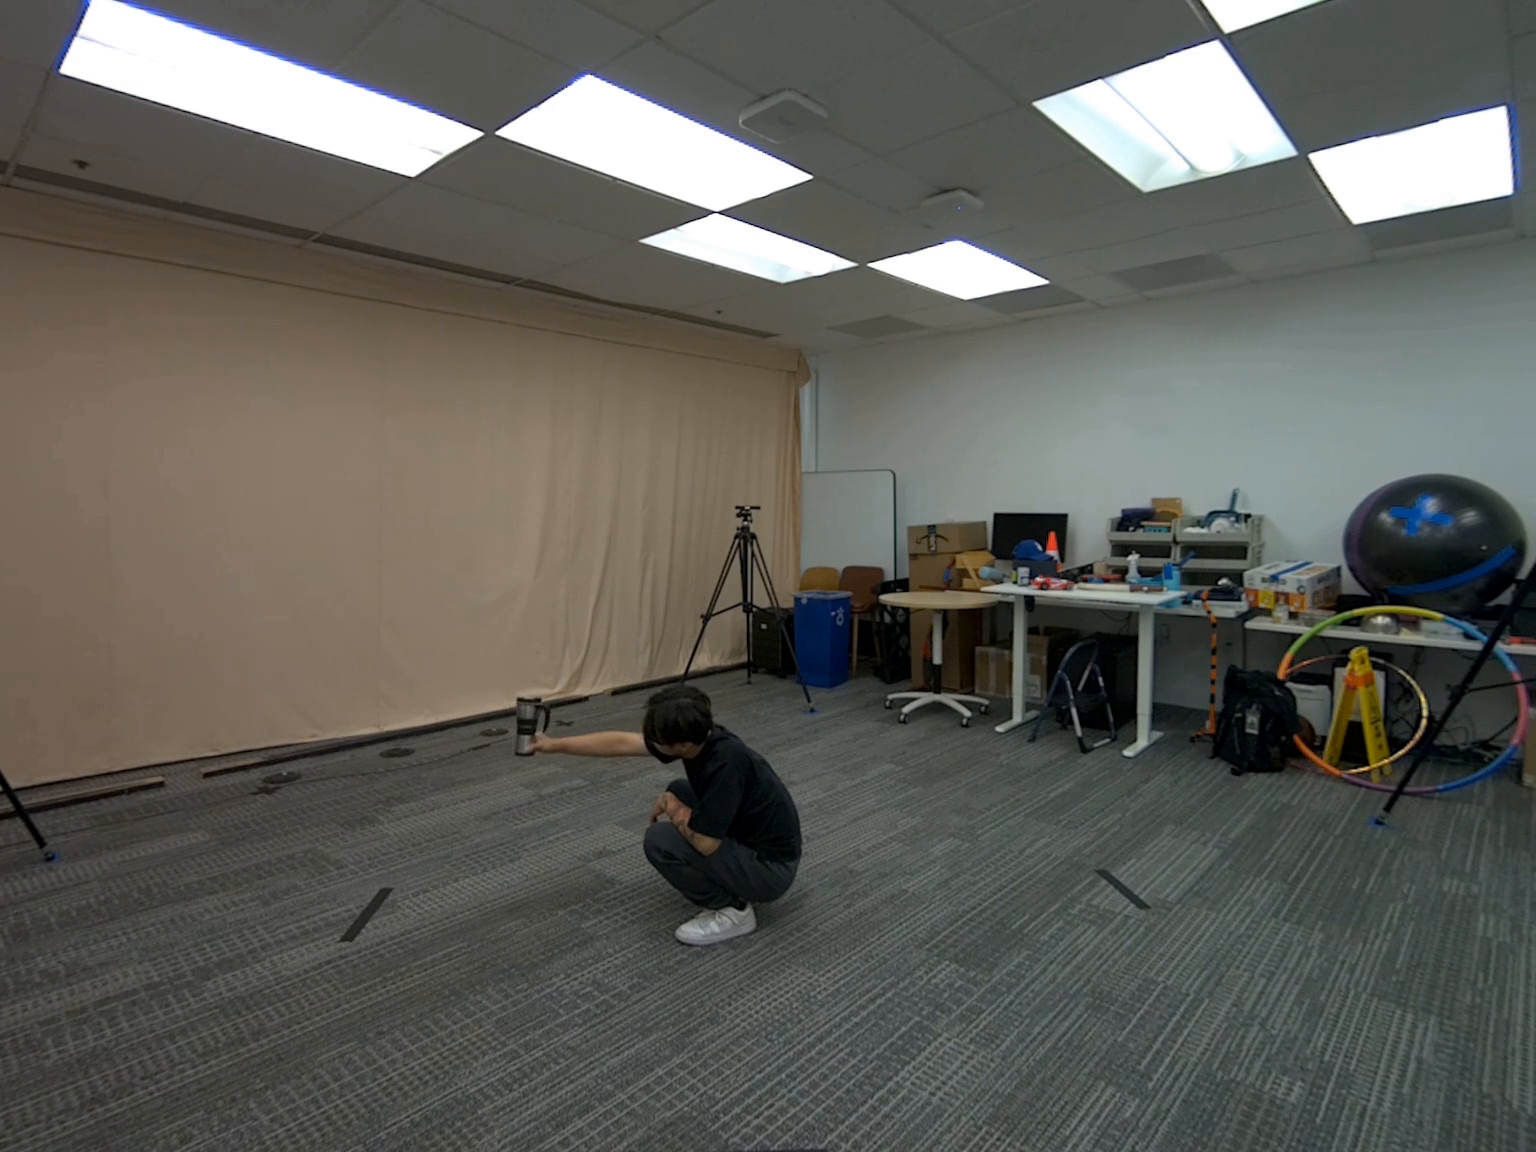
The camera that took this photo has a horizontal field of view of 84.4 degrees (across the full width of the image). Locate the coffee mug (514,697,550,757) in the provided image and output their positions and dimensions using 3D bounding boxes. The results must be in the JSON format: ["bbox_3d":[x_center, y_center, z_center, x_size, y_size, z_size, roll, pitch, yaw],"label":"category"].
[{"bbox_3d":[-0.833,0.537,2.956,0.126,0.203,0.085,2,-6,43],"label":"coffee mug"}]
